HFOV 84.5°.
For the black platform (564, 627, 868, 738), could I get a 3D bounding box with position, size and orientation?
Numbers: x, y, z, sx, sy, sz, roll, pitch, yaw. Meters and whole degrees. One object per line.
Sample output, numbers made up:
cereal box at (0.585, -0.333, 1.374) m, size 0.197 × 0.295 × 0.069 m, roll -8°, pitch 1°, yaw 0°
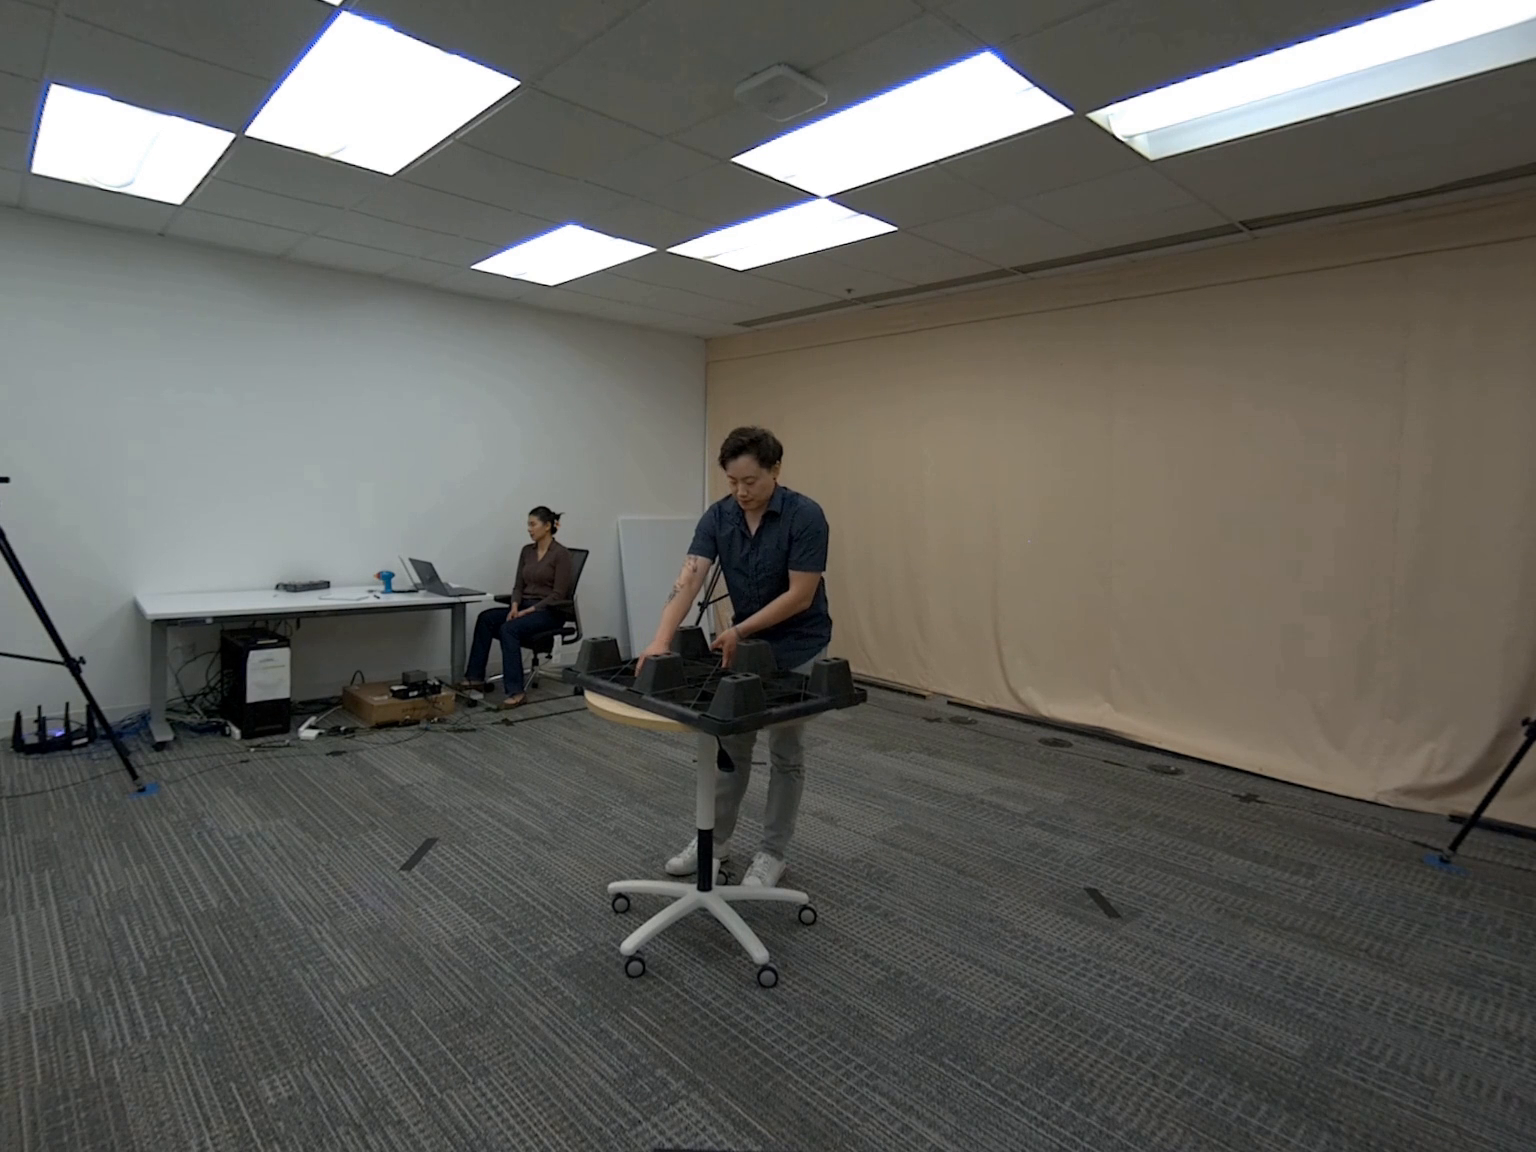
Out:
black platform at (-0.195, 0.298, 2.631) m, size 0.591 × 0.143 × 0.826 m, roll -4°, pitch 8°, yaw -43°
